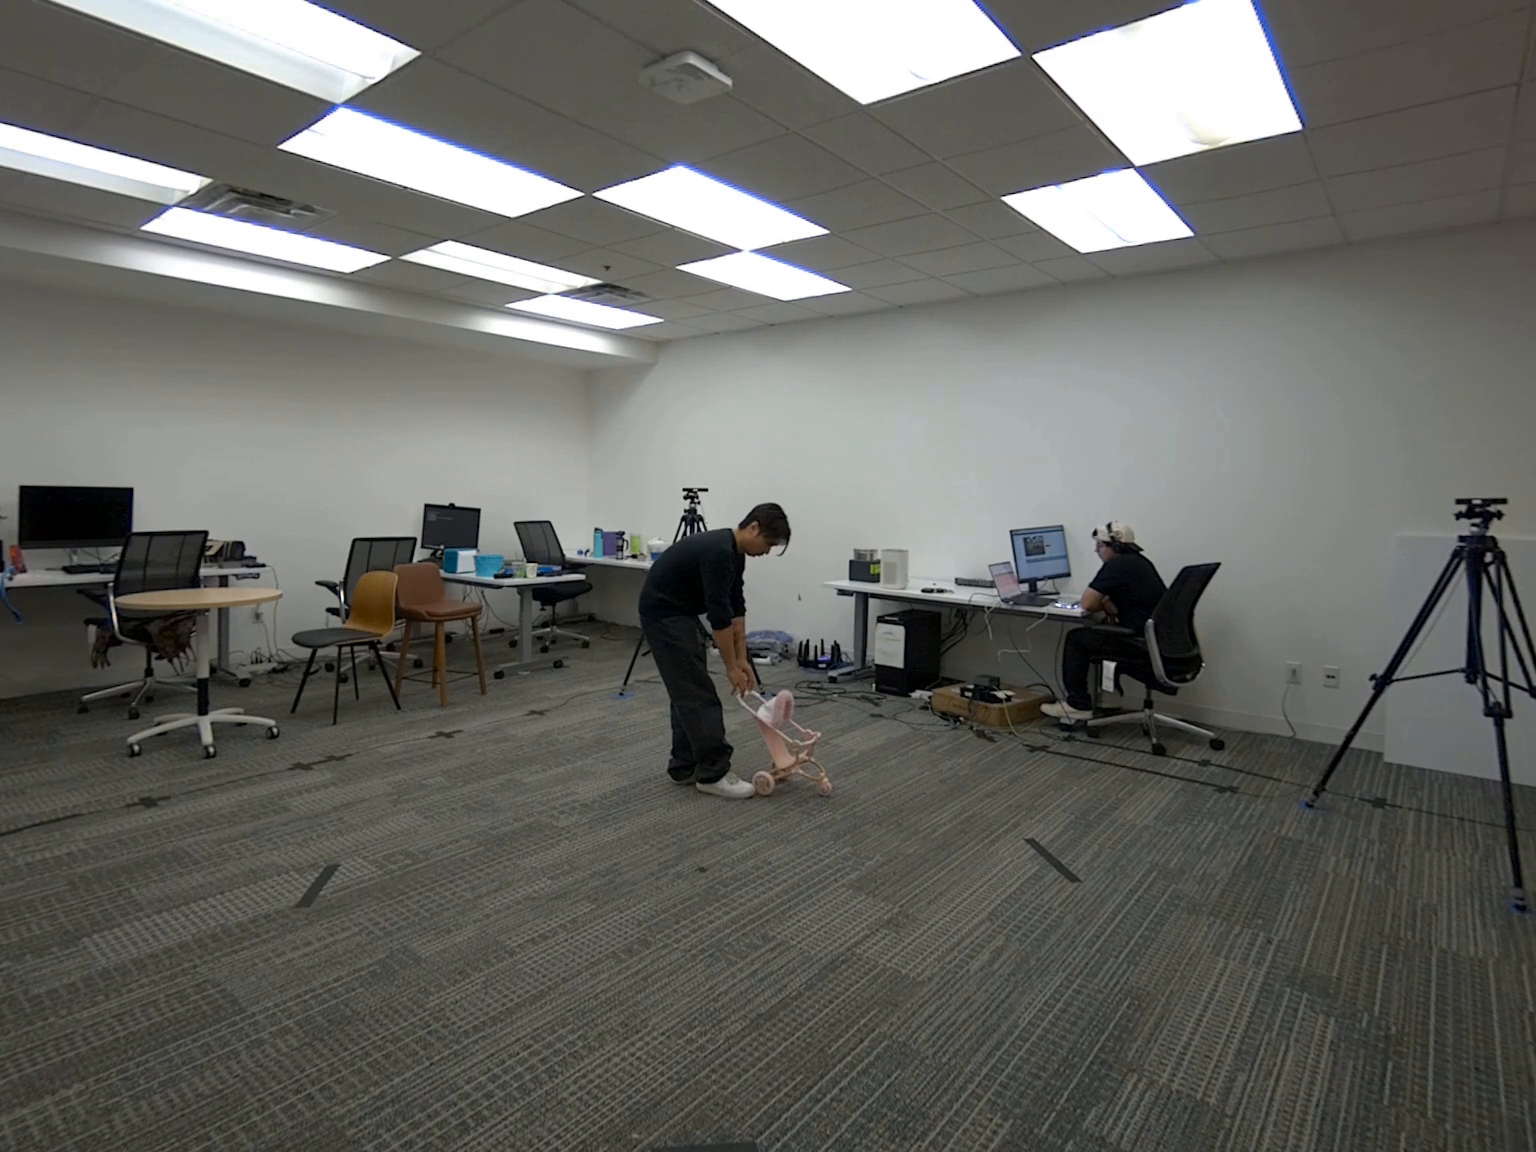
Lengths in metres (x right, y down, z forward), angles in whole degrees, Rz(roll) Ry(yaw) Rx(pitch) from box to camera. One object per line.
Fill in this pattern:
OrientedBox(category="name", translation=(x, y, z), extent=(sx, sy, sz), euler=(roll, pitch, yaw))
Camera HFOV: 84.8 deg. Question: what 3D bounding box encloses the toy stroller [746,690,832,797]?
OrientedBox(category="toy stroller", translation=(0.078, 0.770, 3.962), extent=(0.348, 0.538, 0.275), euler=(-15, -4, 27))
